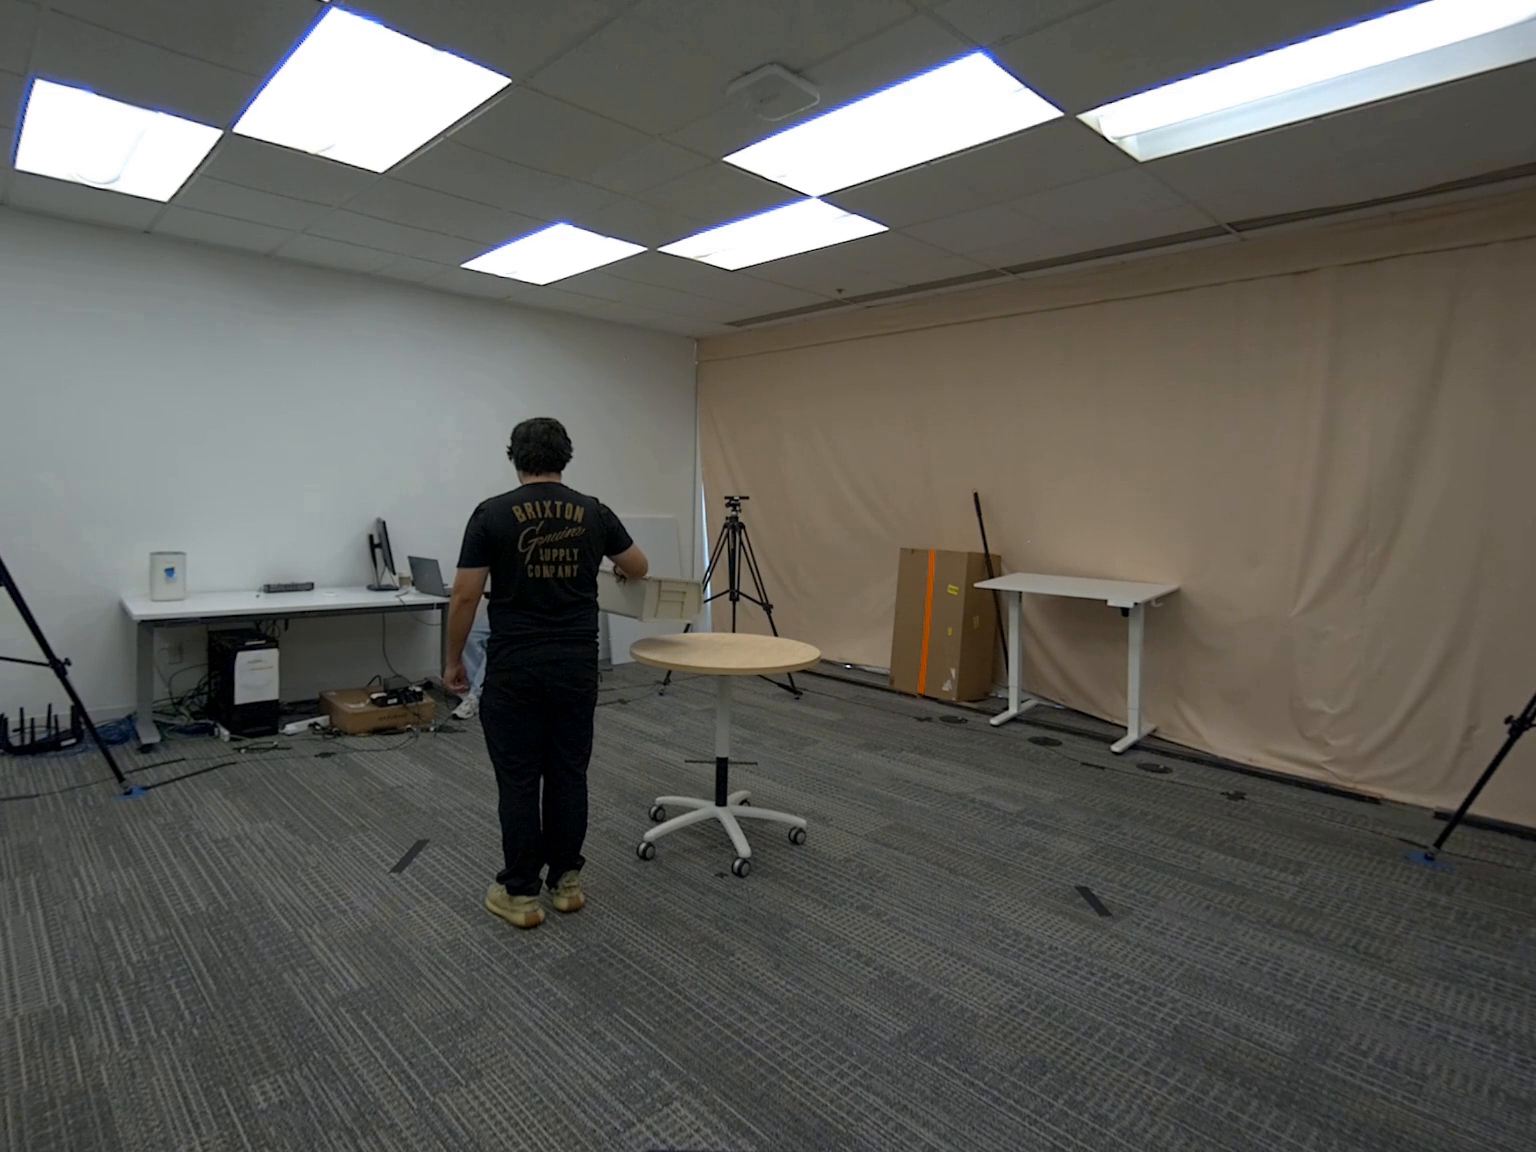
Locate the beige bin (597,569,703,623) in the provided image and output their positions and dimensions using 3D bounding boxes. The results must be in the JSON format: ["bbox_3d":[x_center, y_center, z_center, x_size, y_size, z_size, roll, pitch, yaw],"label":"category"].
[{"bbox_3d":[-0.547,0.074,3.460,0.433,0.189,0.368,10,2,32],"label":"beige bin"}]
